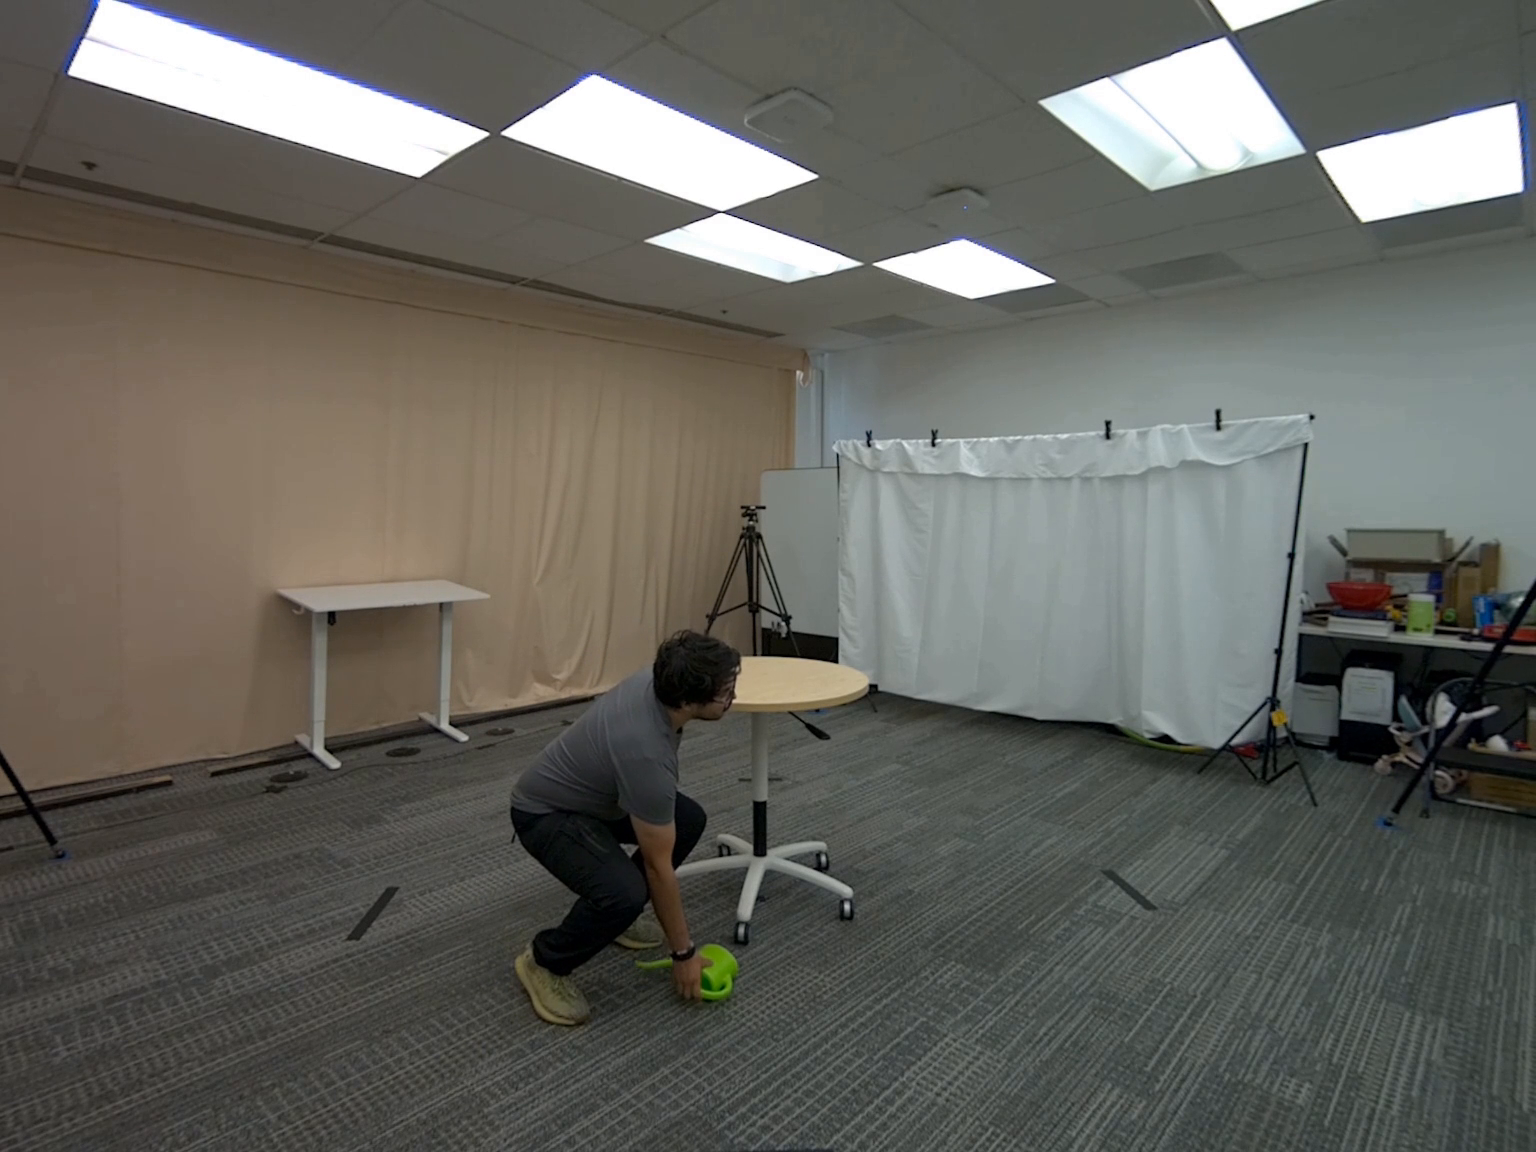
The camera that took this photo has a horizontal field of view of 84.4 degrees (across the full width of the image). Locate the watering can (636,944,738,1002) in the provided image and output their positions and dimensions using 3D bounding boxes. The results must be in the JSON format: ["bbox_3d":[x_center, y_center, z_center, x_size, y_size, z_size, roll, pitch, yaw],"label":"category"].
[{"bbox_3d":[-0.218,1.128,2.429,0.286,0.098,0.172,26,14,24],"label":"watering can"}]
